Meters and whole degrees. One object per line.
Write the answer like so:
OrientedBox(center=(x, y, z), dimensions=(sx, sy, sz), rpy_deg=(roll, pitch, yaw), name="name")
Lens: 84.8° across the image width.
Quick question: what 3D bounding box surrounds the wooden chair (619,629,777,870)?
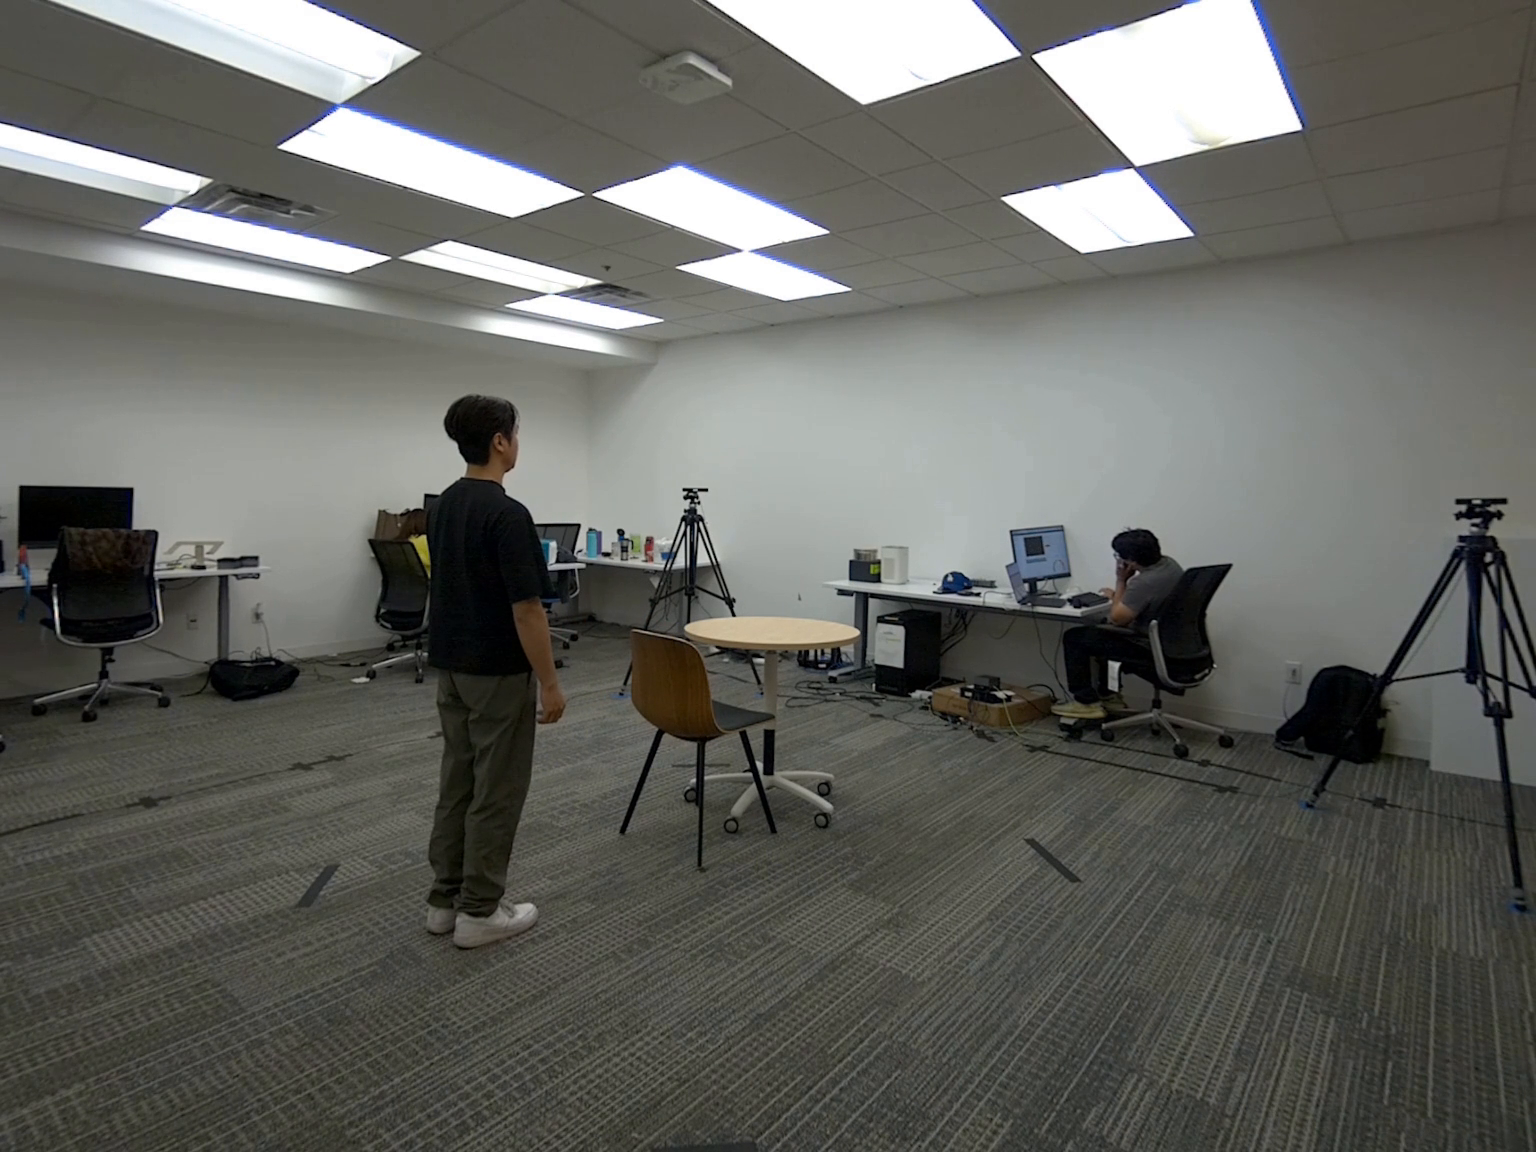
OrientedBox(center=(-0.279, 0.614, 3.411), dimensions=(0.494, 0.872, 0.509), rpy_deg=(3, 8, 41), name="wooden chair")
